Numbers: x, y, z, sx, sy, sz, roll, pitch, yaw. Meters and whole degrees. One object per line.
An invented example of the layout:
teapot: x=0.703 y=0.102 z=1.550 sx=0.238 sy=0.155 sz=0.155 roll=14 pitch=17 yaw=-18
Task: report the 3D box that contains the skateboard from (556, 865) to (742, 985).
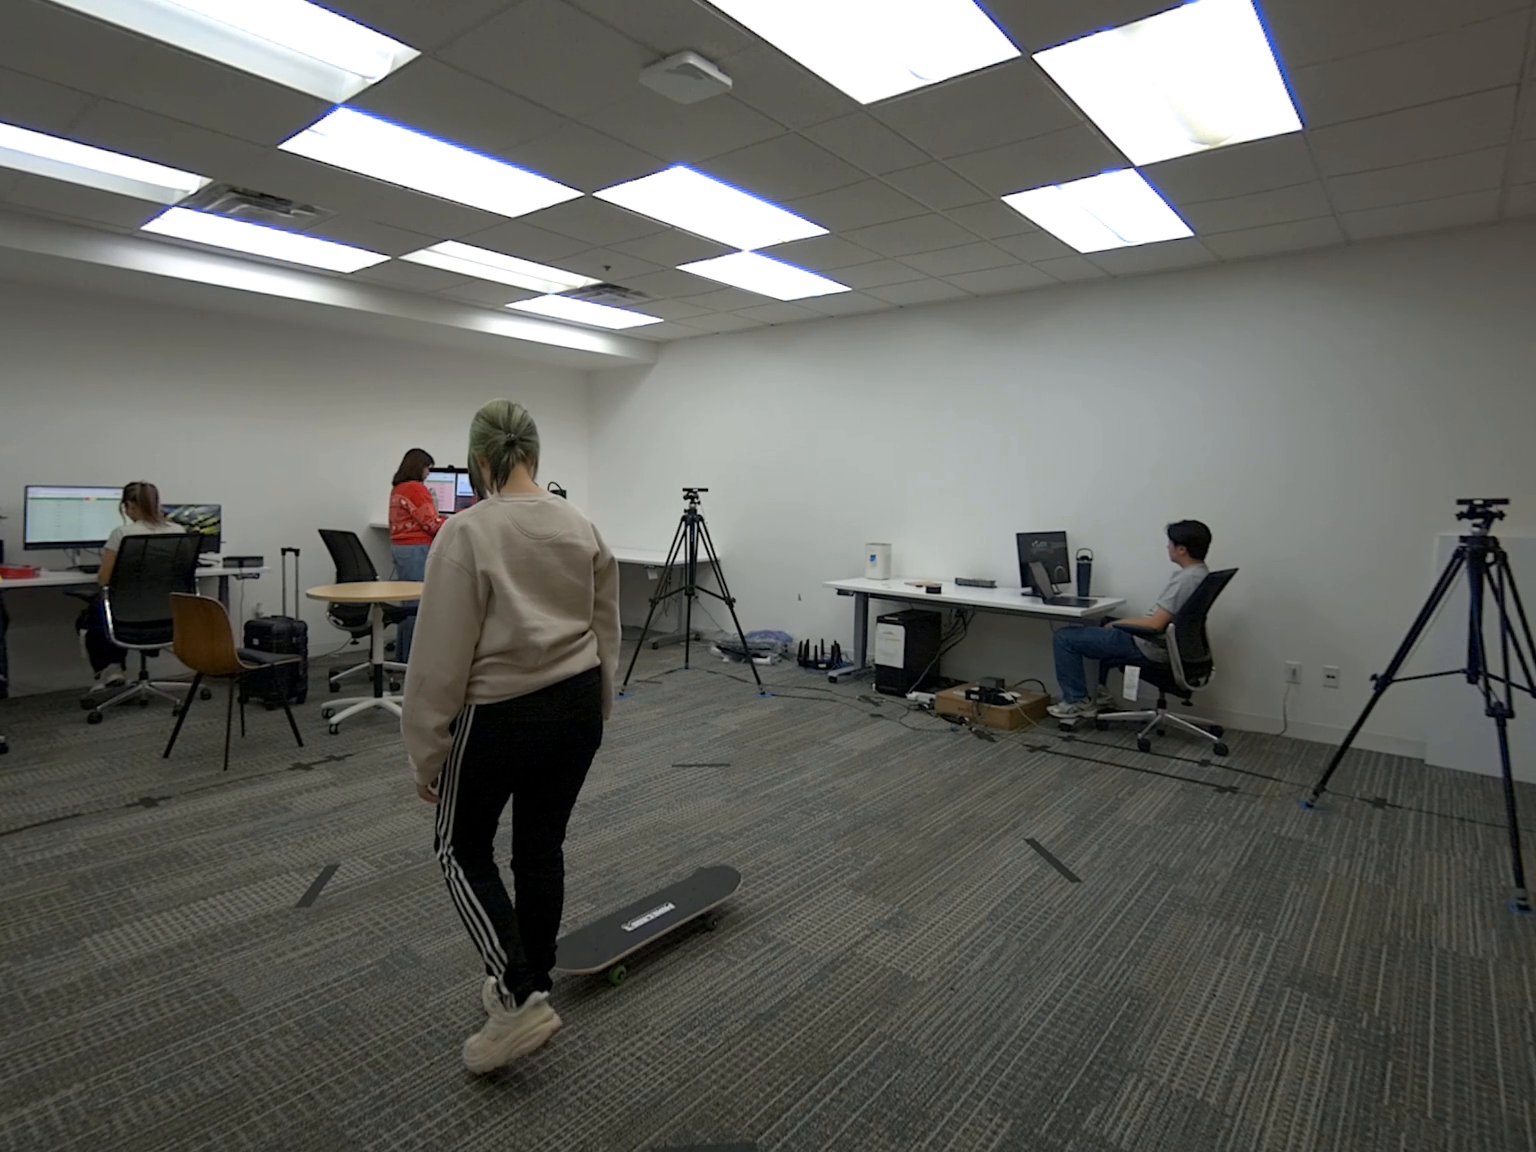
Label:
skateboard: x=-0.367 y=1.065 z=2.581 sx=0.200 sy=0.110 sz=0.763 roll=4 pitch=7 yaw=39
